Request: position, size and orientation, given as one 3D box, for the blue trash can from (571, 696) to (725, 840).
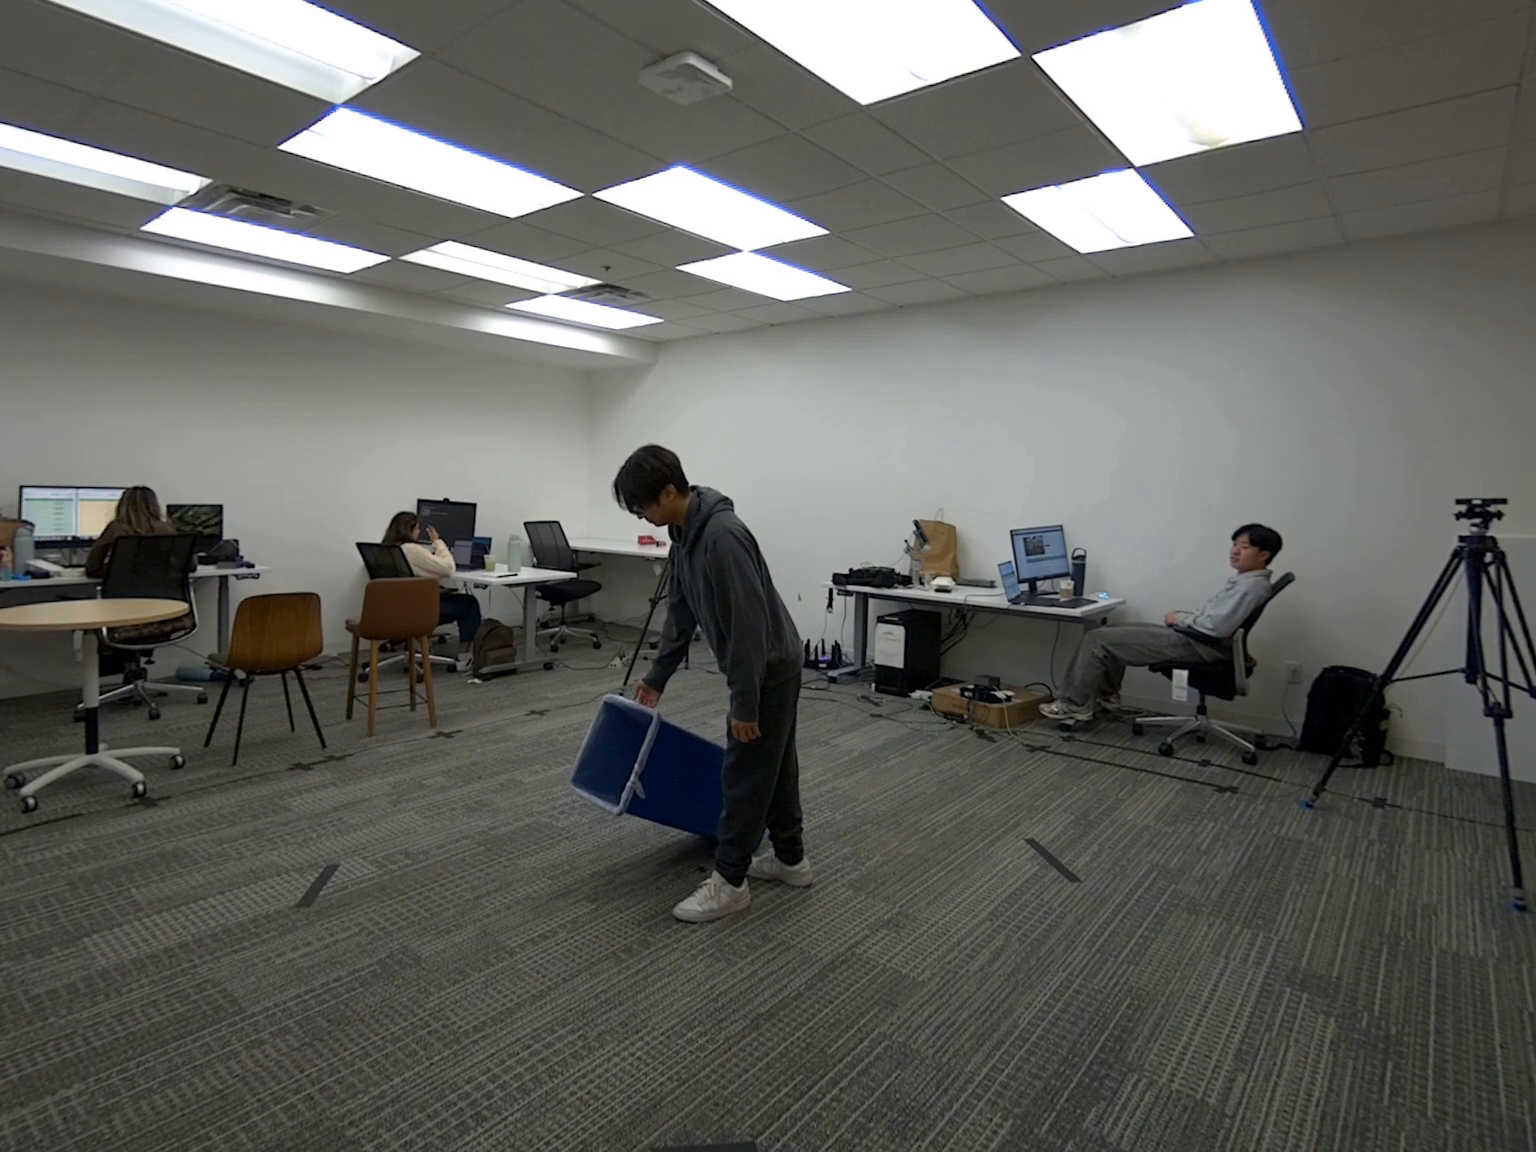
[{"bbox_3d":[-0.341,0.763,3.213,0.685,0.381,0.386,33,-18,-37],"label":"blue trash can"}]
